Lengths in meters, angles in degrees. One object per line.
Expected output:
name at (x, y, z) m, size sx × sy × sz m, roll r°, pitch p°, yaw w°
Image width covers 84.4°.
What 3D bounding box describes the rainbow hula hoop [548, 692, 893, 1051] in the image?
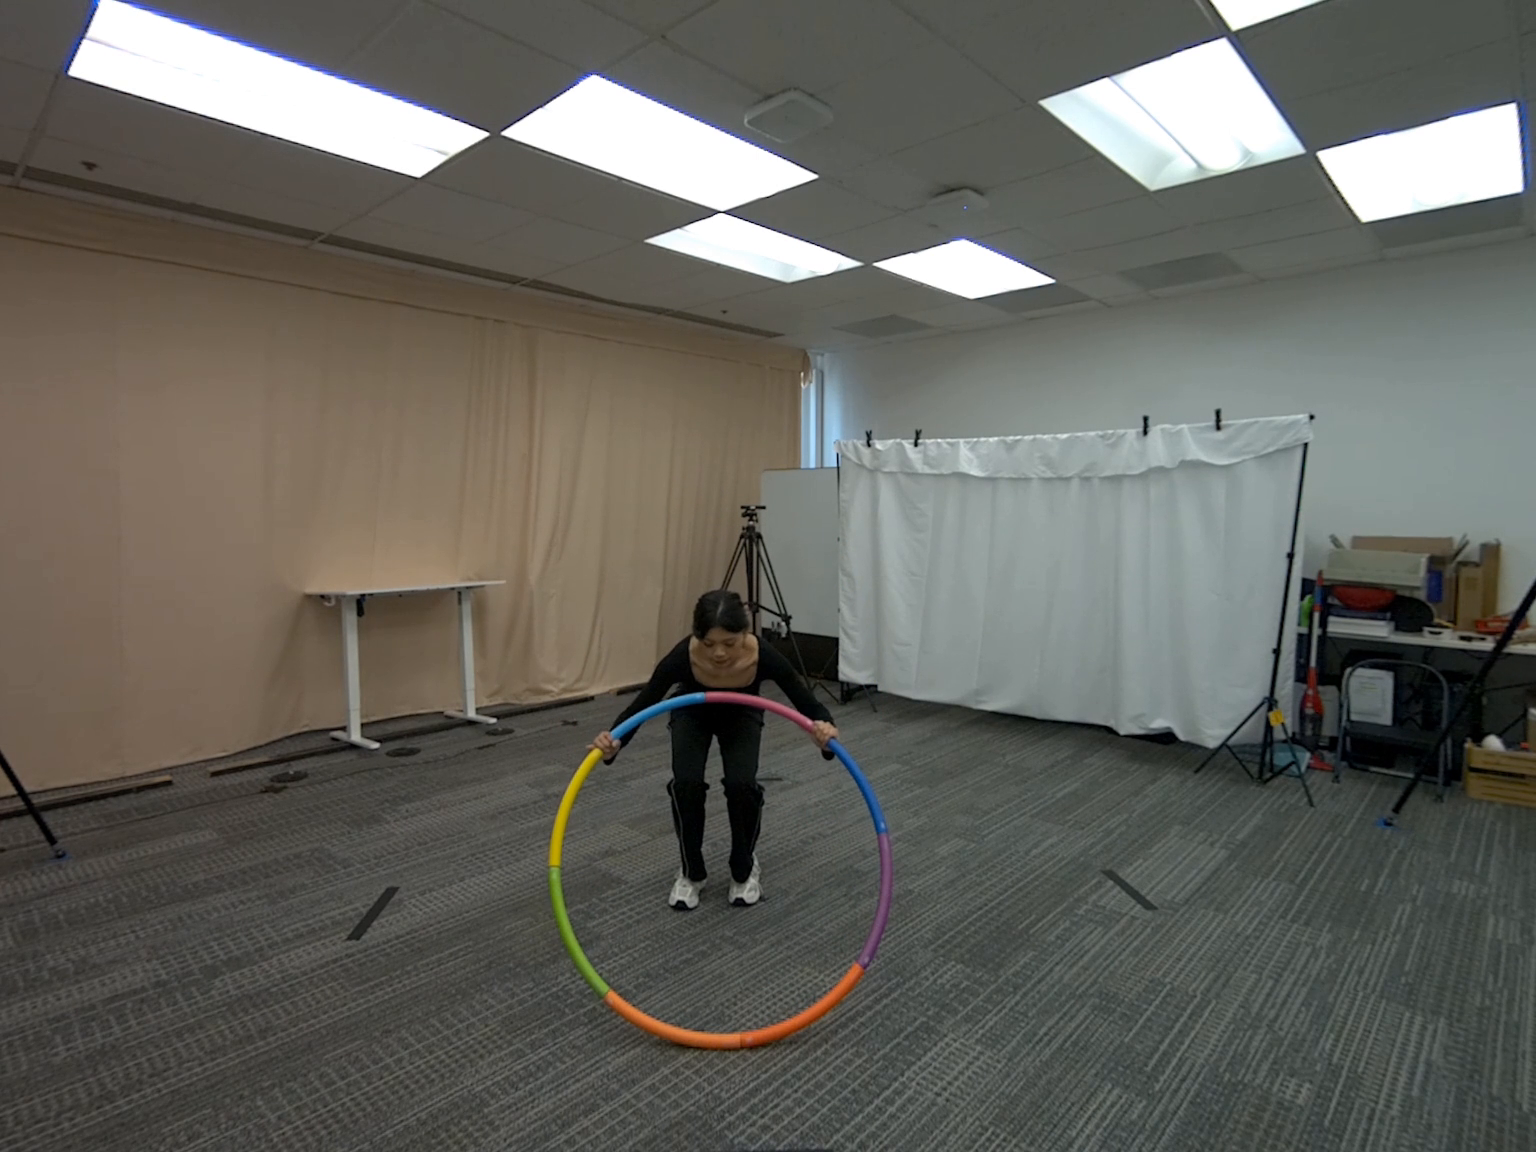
rainbow hula hoop at (-0.127, 0.796, 2.430) m, size 0.979 × 0.996 × 0.035 m, roll -1°, pitch -33°, yaw 0°
